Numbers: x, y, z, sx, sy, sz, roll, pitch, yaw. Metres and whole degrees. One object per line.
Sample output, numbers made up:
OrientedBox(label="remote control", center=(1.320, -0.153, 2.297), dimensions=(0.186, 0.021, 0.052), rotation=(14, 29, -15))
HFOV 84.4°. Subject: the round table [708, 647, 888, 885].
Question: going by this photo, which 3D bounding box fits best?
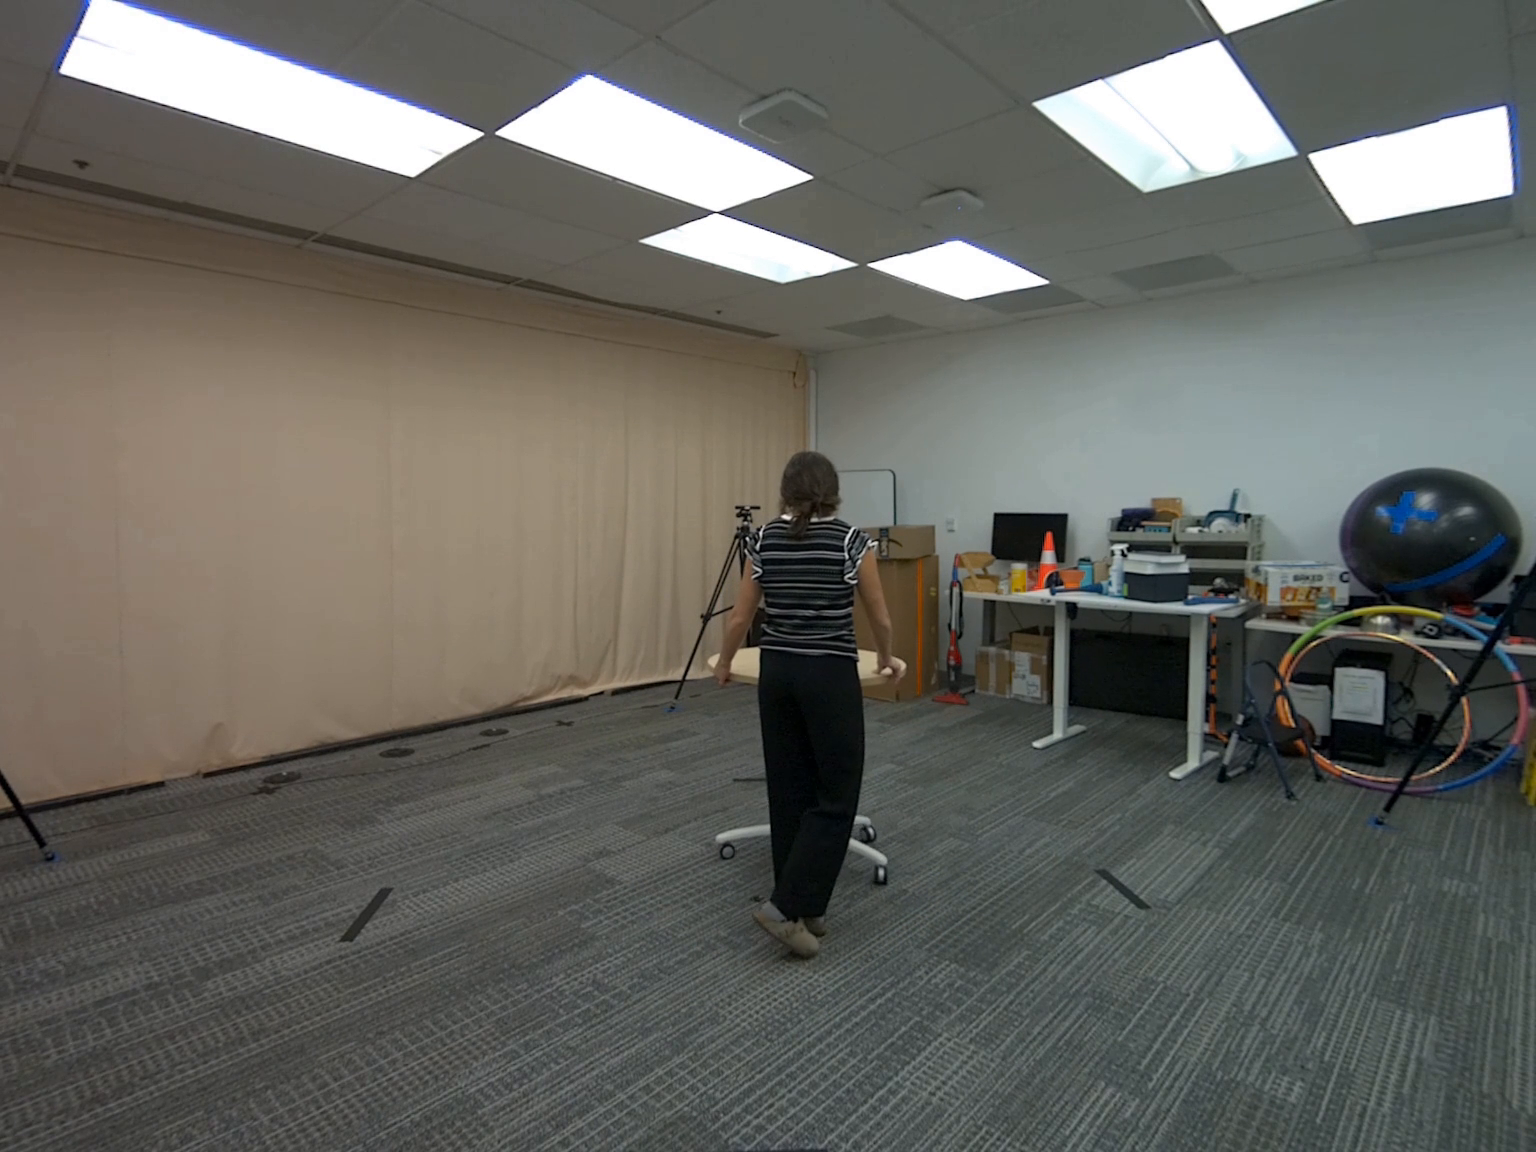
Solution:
OrientedBox(label="round table", center=(0.152, 0.718, 3.320), dimensions=(0.784, 0.785, 0.788), rotation=(0, 4, -2))
